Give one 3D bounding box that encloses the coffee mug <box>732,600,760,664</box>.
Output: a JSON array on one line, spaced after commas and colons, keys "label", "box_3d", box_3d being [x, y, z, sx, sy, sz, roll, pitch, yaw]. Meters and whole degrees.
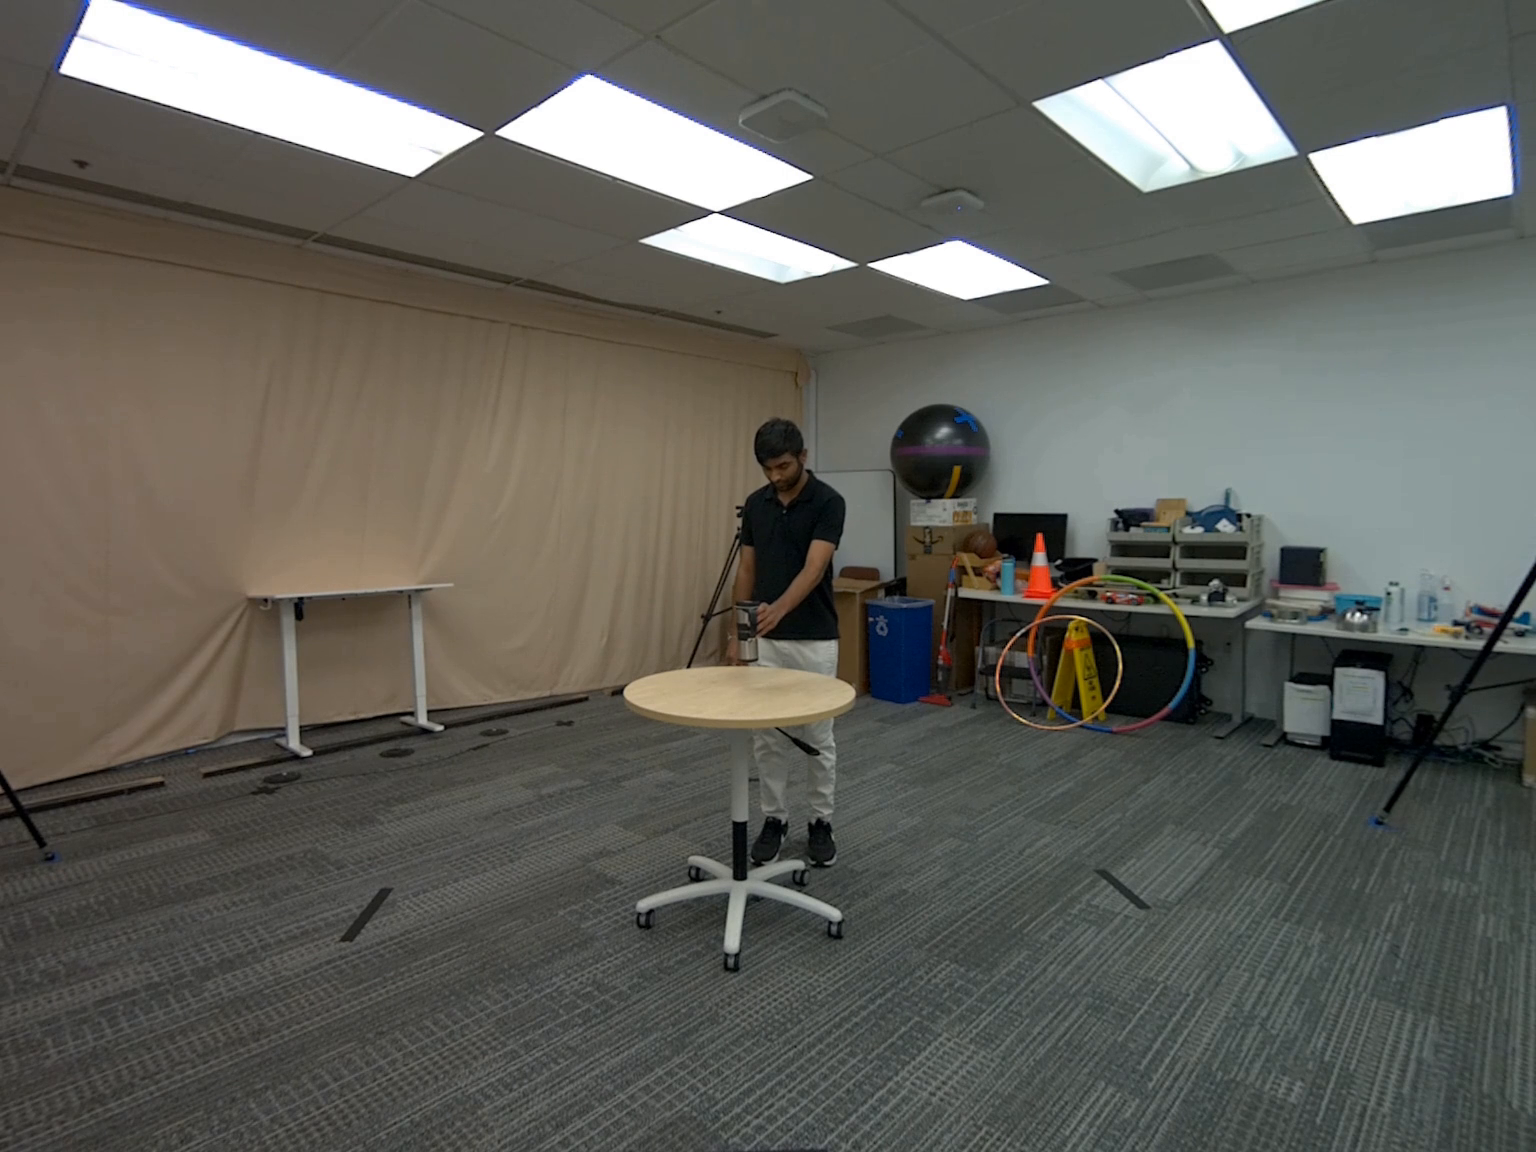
[{"label": "coffee mug", "box_3d": [-0.067, 0.187, 2.811, 0.089, 0.203, 0.120, -1, 2, 10]}]
